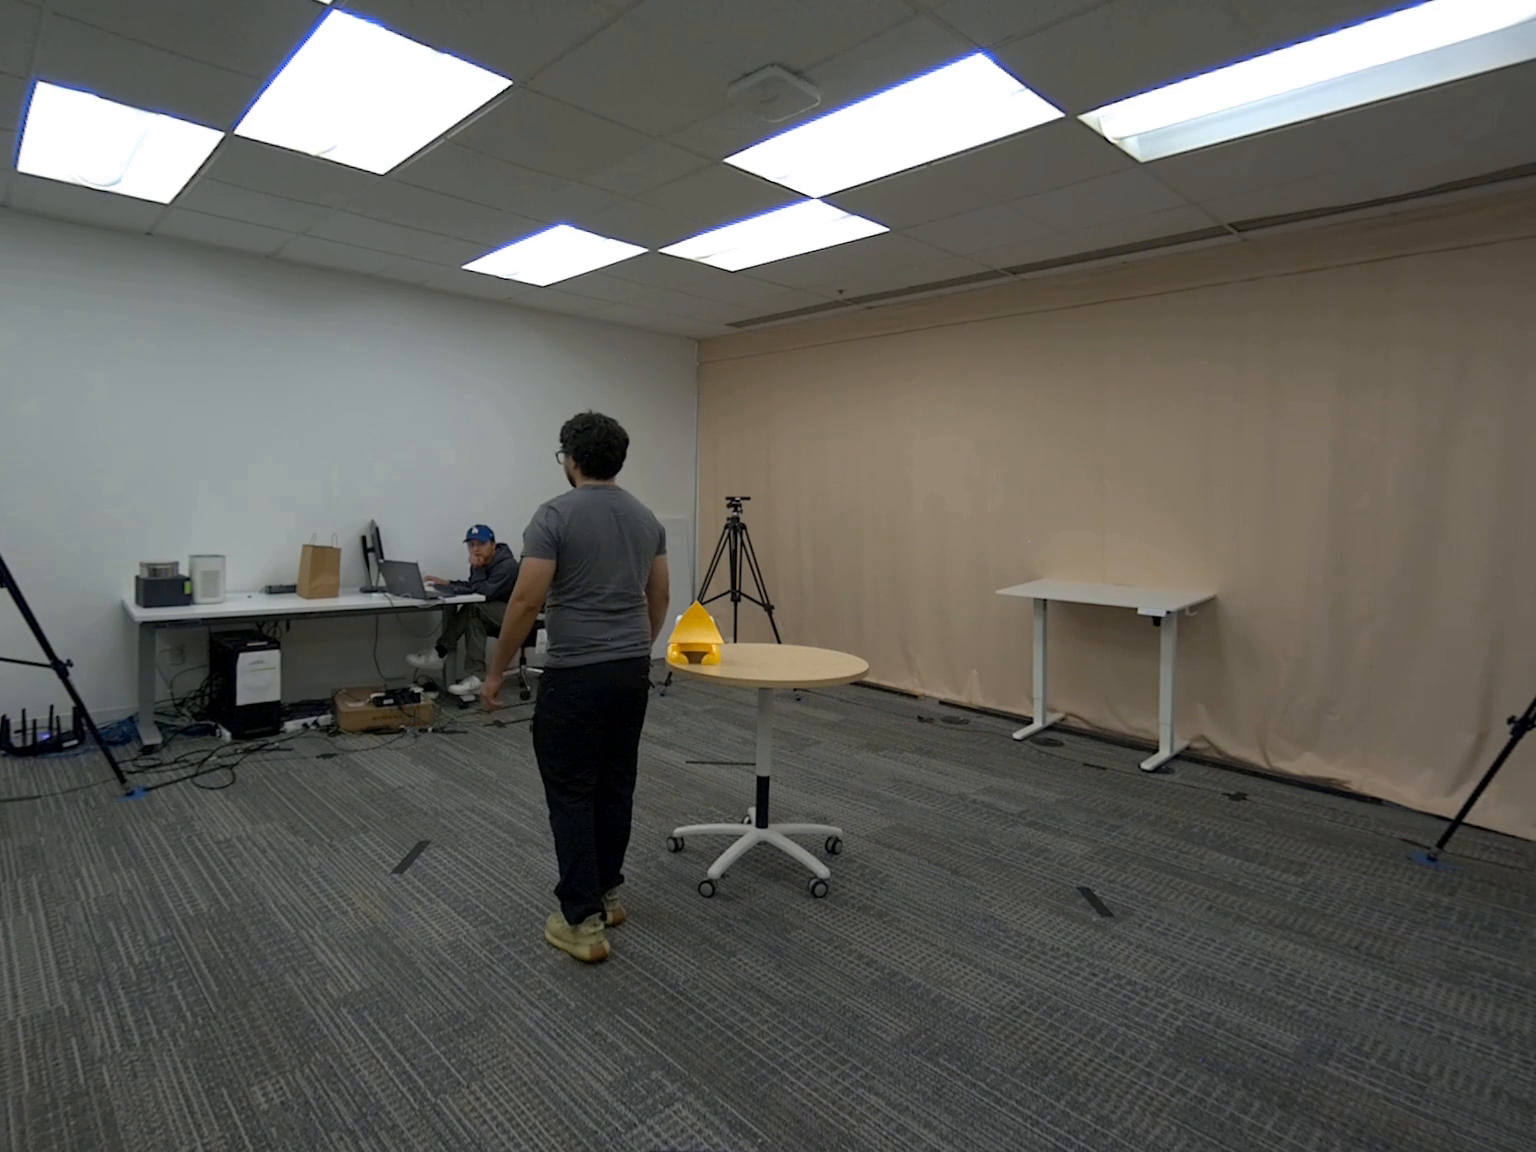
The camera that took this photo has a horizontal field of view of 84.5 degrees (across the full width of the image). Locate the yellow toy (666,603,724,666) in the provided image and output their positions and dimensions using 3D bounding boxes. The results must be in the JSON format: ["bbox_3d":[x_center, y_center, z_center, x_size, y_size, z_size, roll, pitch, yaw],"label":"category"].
[{"bbox_3d":[-0.280,0.200,3.133,0.204,0.230,0.194,1,3,-7],"label":"yellow toy"}]
